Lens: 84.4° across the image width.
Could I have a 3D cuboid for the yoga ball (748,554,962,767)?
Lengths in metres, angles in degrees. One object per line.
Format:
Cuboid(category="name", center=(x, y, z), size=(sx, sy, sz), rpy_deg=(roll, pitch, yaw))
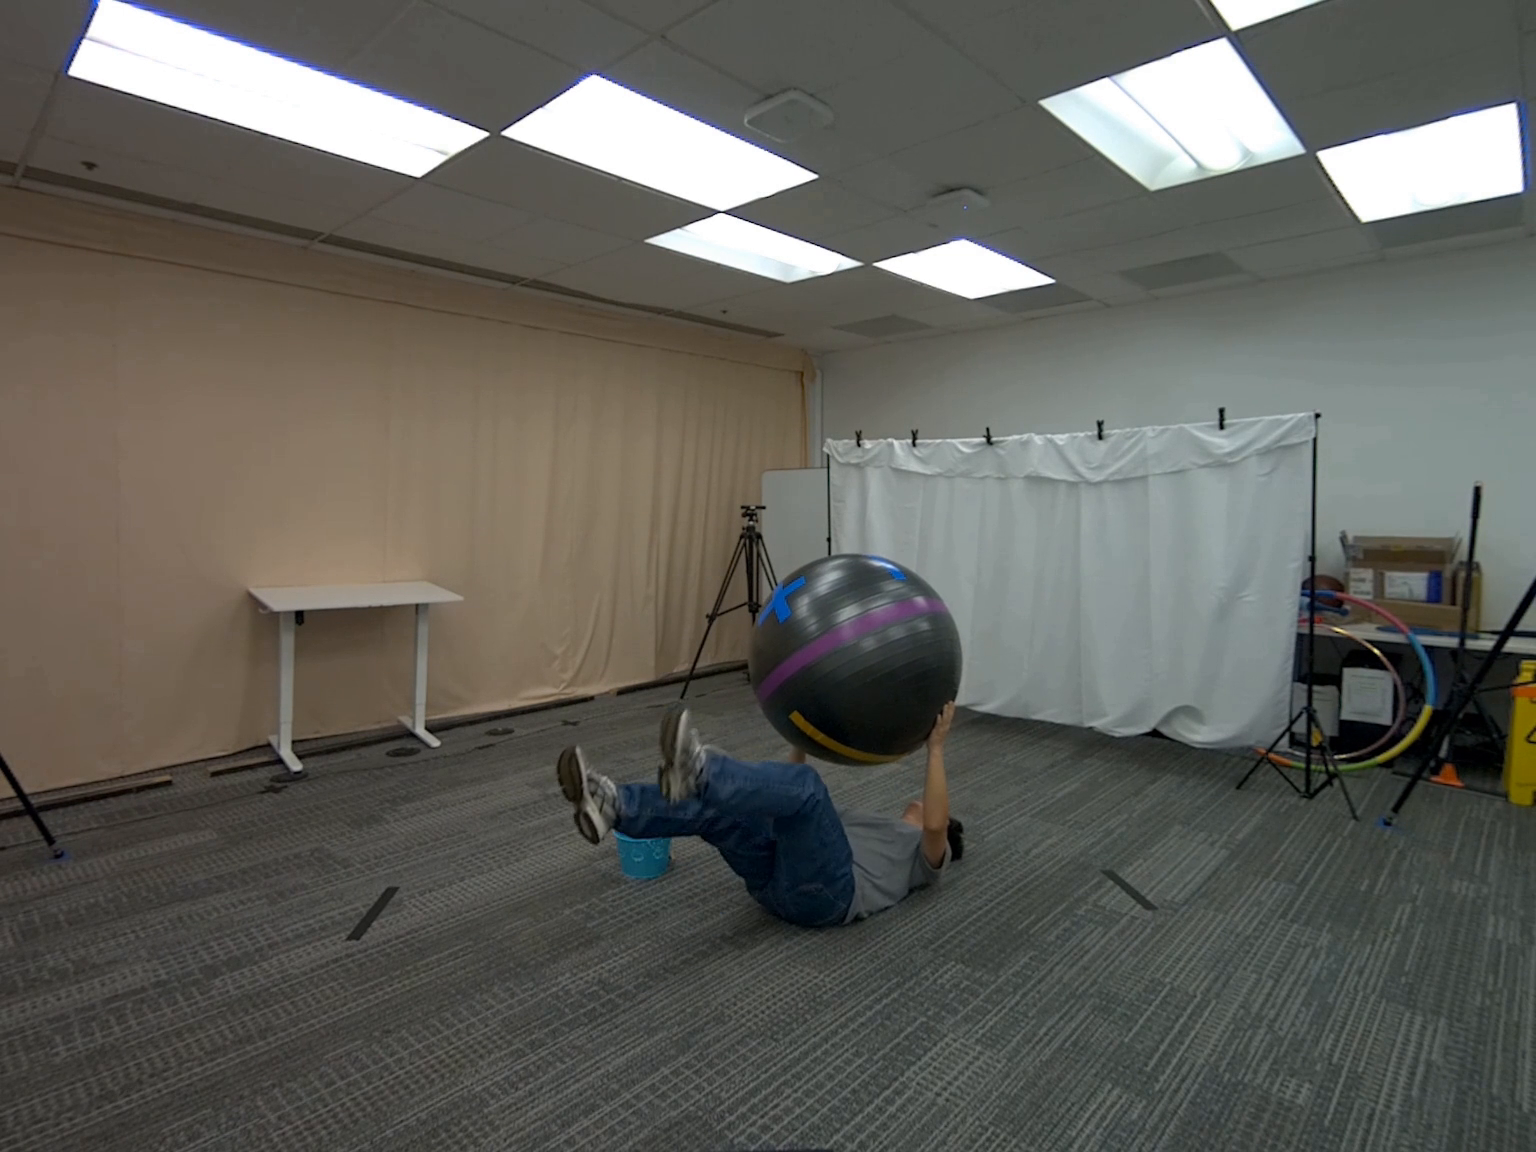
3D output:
Cuboid(category="yoga ball", center=(0.308, 0.303, 3.054), size=(0.757, 0.756, 0.760), rpy_deg=(0, 4, -2))
